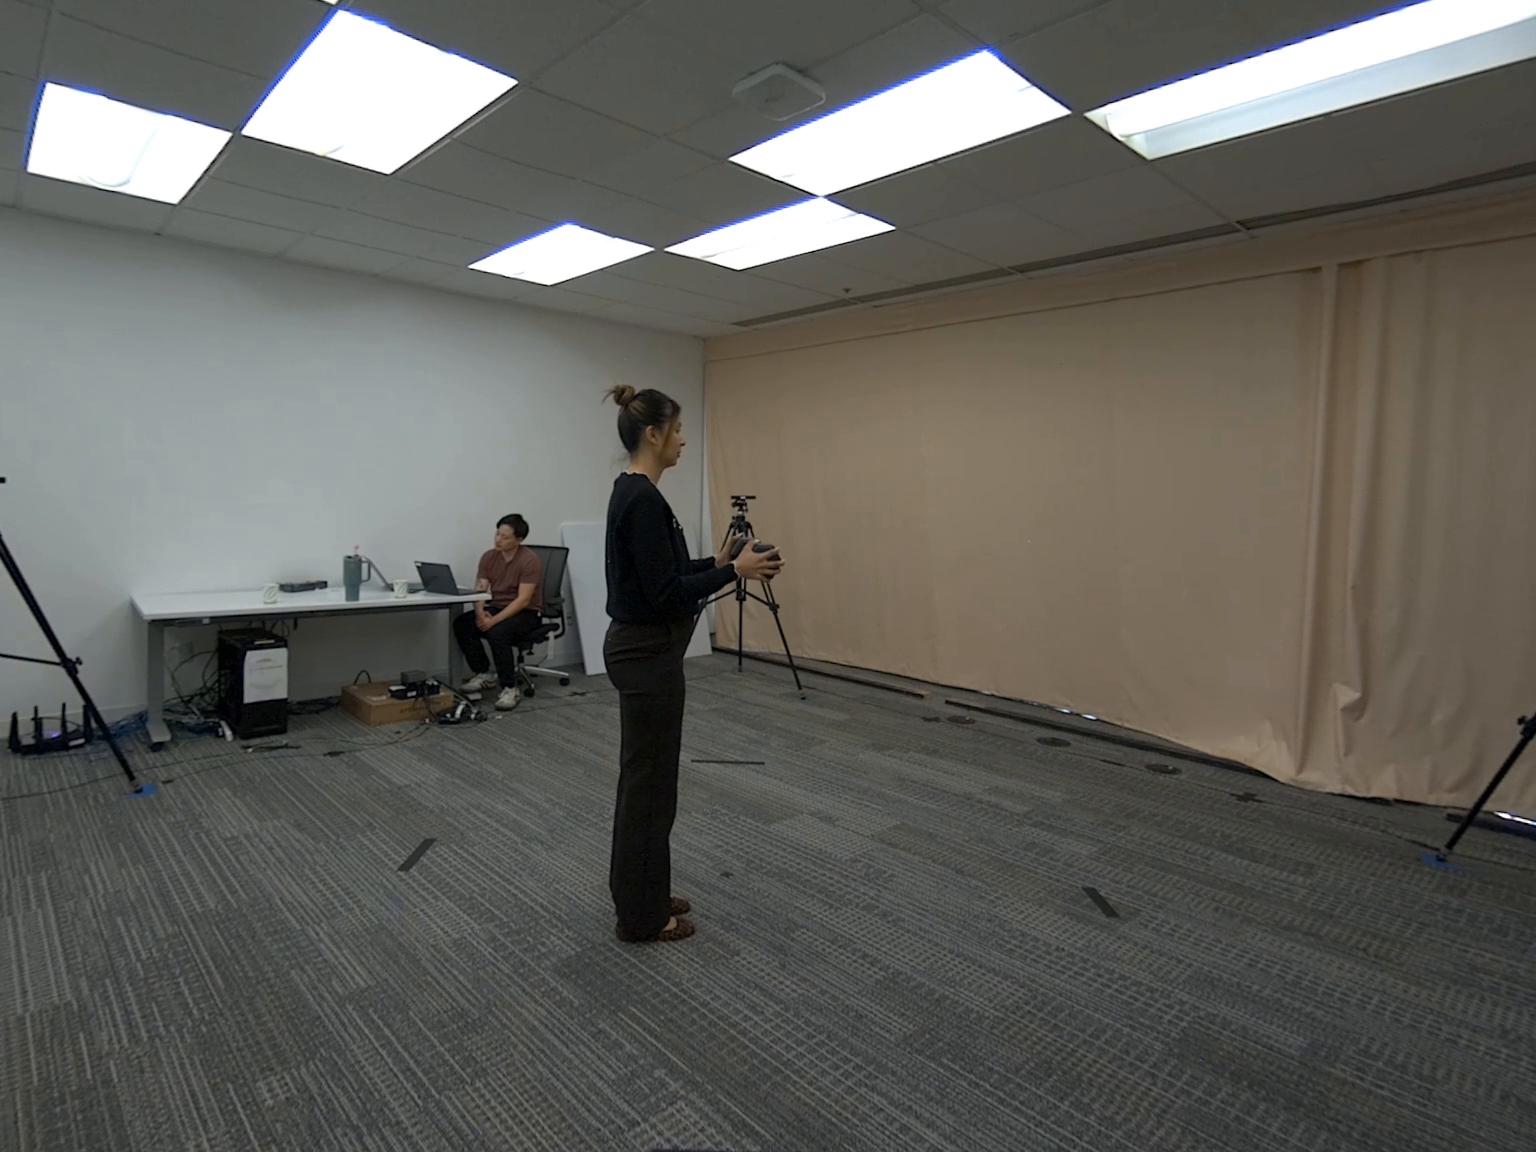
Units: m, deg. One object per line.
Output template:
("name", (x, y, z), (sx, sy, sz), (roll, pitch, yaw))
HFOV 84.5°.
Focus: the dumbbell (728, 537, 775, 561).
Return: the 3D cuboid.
("dumbbell", (-0.077, -0.060, 2.721), (0.122, 0.108, 0.295), (6, 7, -4))
